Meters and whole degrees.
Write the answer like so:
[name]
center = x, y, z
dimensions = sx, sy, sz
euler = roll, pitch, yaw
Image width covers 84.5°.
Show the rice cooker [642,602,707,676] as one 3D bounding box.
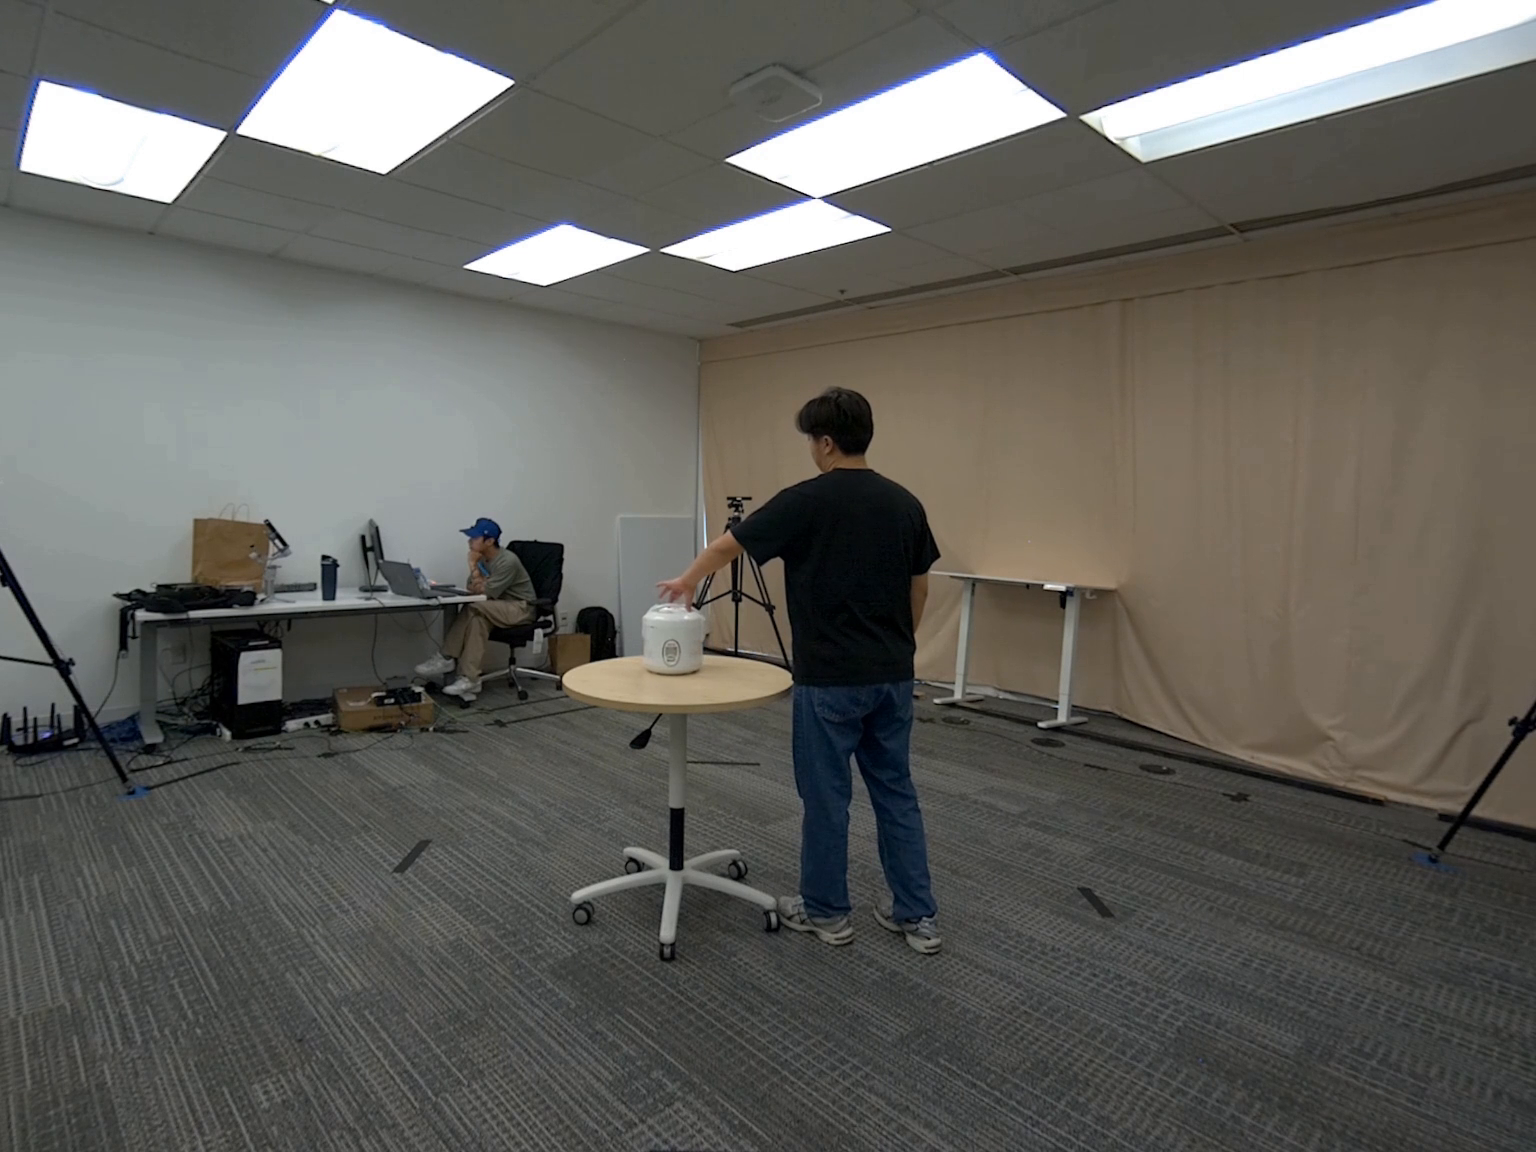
[rice cooker]
center = -0.328, 0.212, 2.891
dimensions = 0.220, 0.232, 0.218
euler = 0, 4, -2
